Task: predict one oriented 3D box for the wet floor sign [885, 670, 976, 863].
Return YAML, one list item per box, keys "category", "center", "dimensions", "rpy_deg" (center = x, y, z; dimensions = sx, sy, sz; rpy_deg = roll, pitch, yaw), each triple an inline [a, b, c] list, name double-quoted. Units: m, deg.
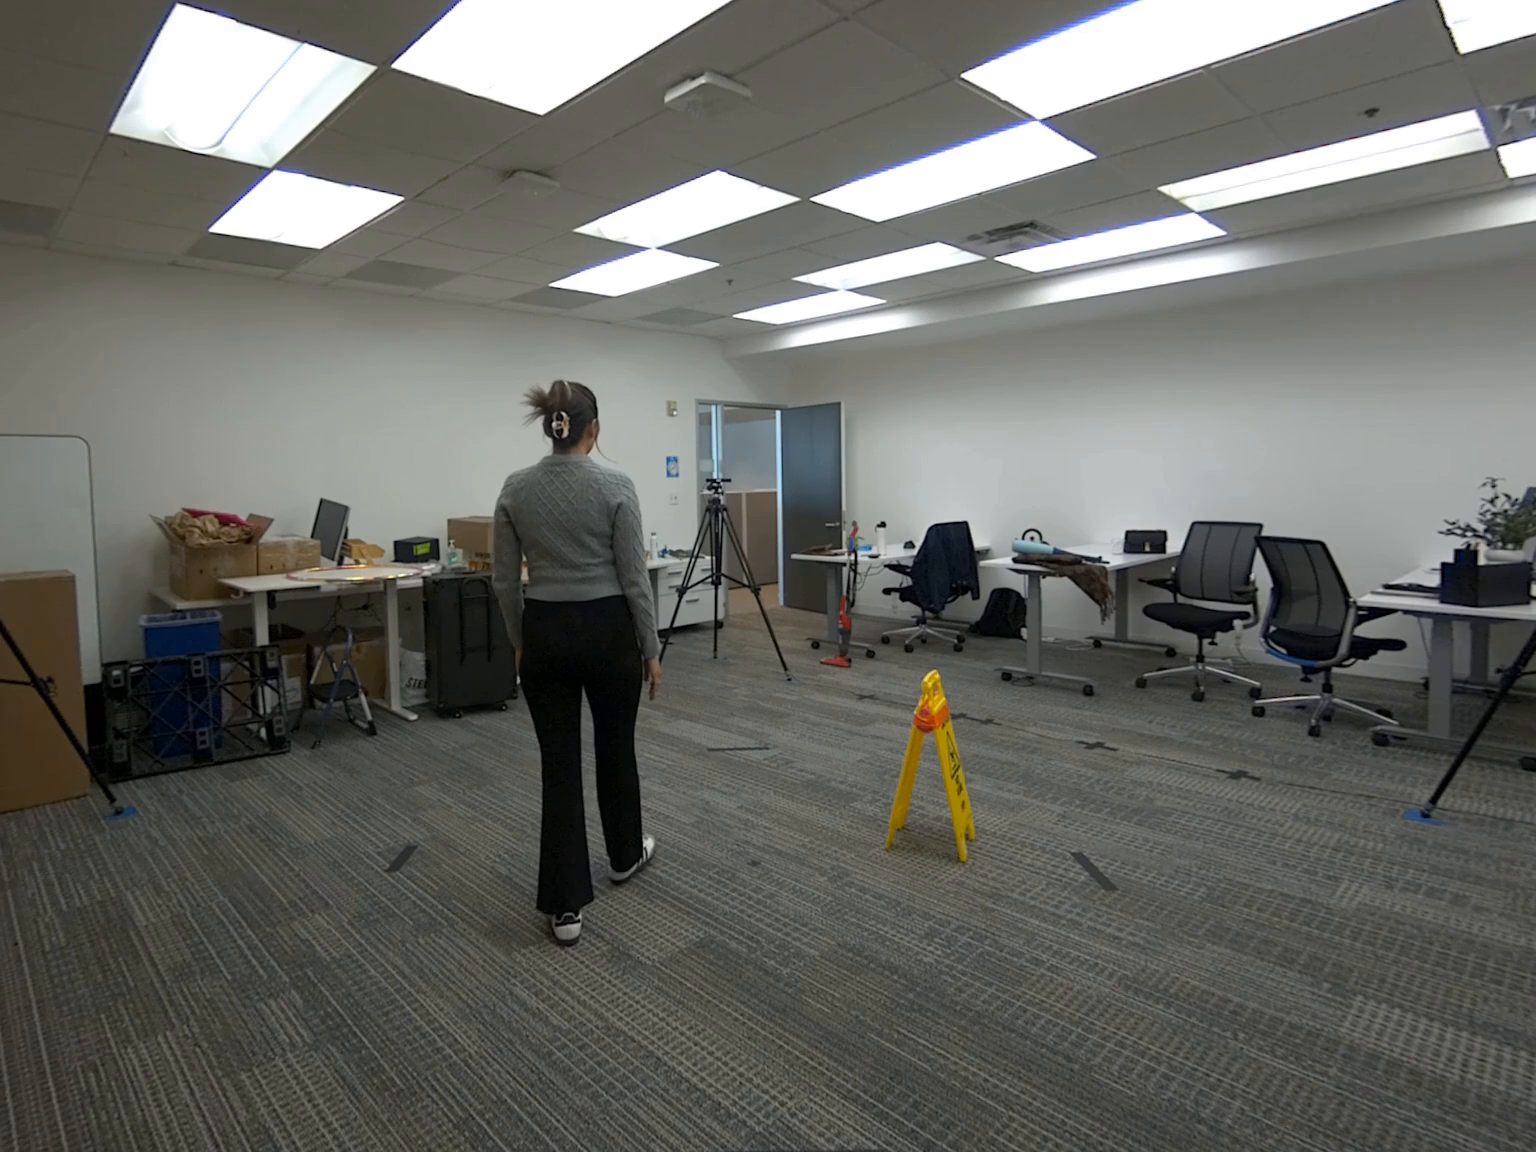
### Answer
- category: "wet floor sign"
  center: [0.625, 0.696, 3.243]
  dimensions: [0.296, 0.643, 0.277]
  rpy_deg: [2, 5, 24]
